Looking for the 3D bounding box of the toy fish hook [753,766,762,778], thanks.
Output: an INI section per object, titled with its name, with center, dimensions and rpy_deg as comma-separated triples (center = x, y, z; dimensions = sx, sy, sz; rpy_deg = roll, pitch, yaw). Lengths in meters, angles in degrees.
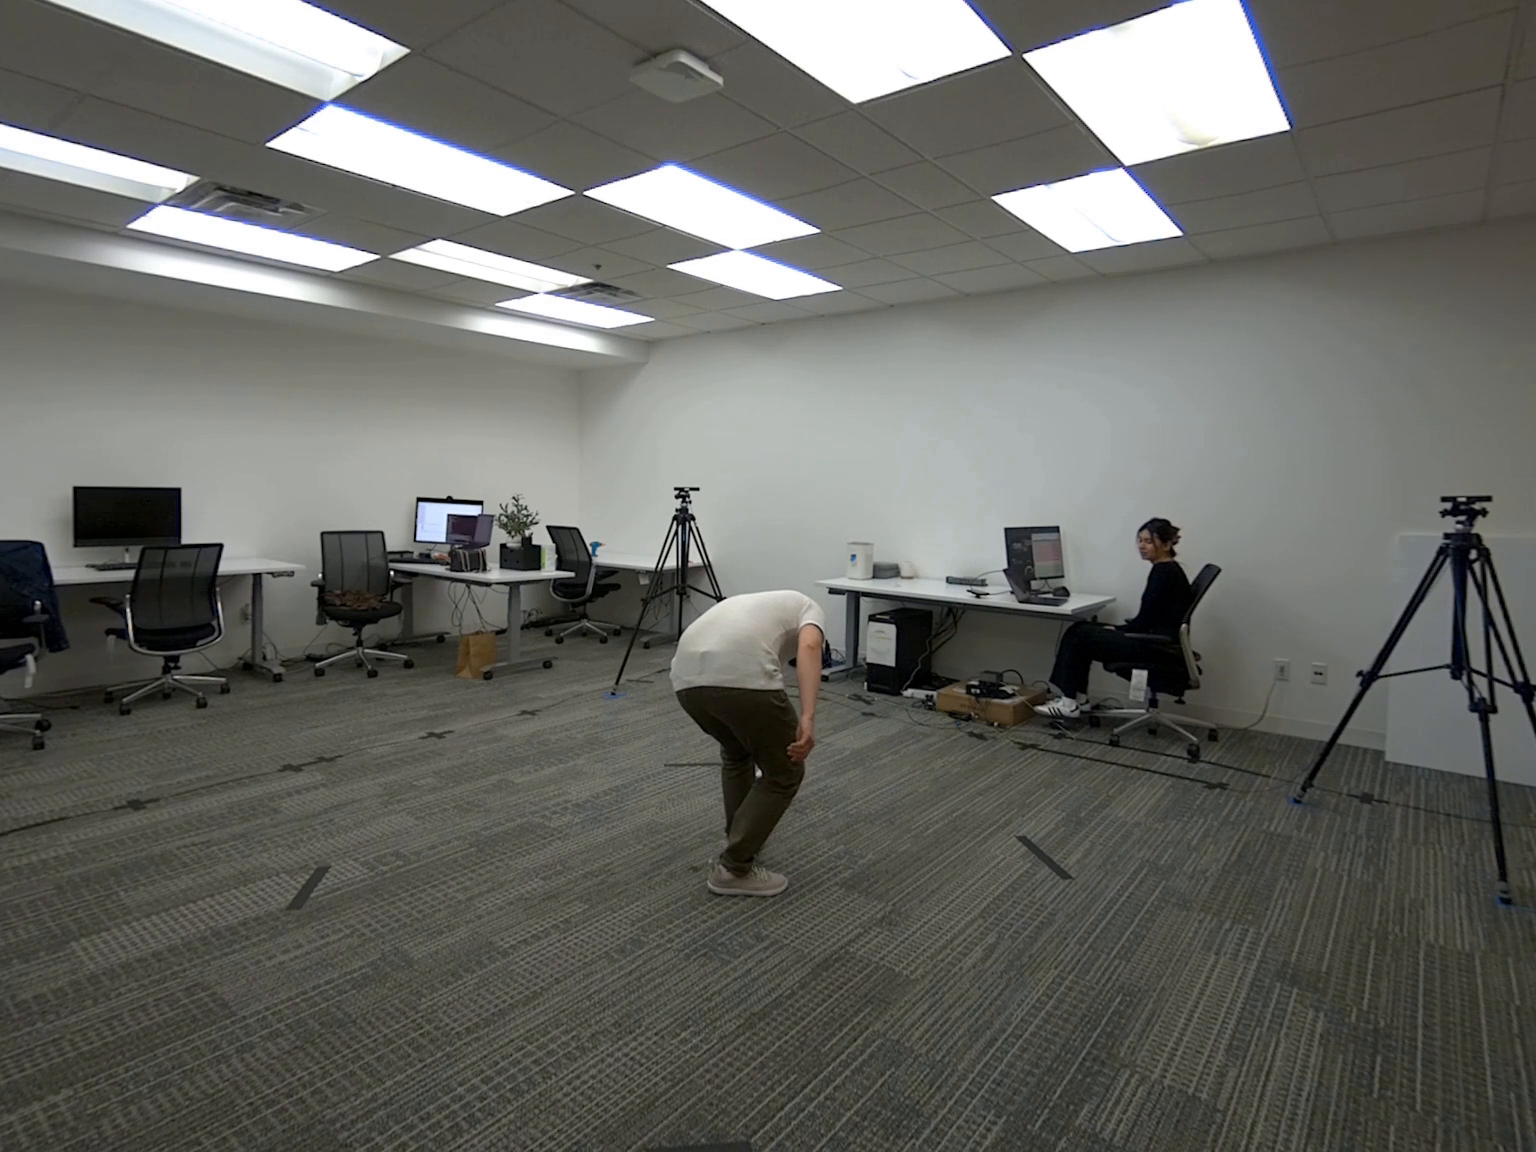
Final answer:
[toy fish hook]
center = -0.035, 0.891, 3.592
dimensions = 0.049, 0.226, 0.492
rpy_deg = -7, -5, 27
